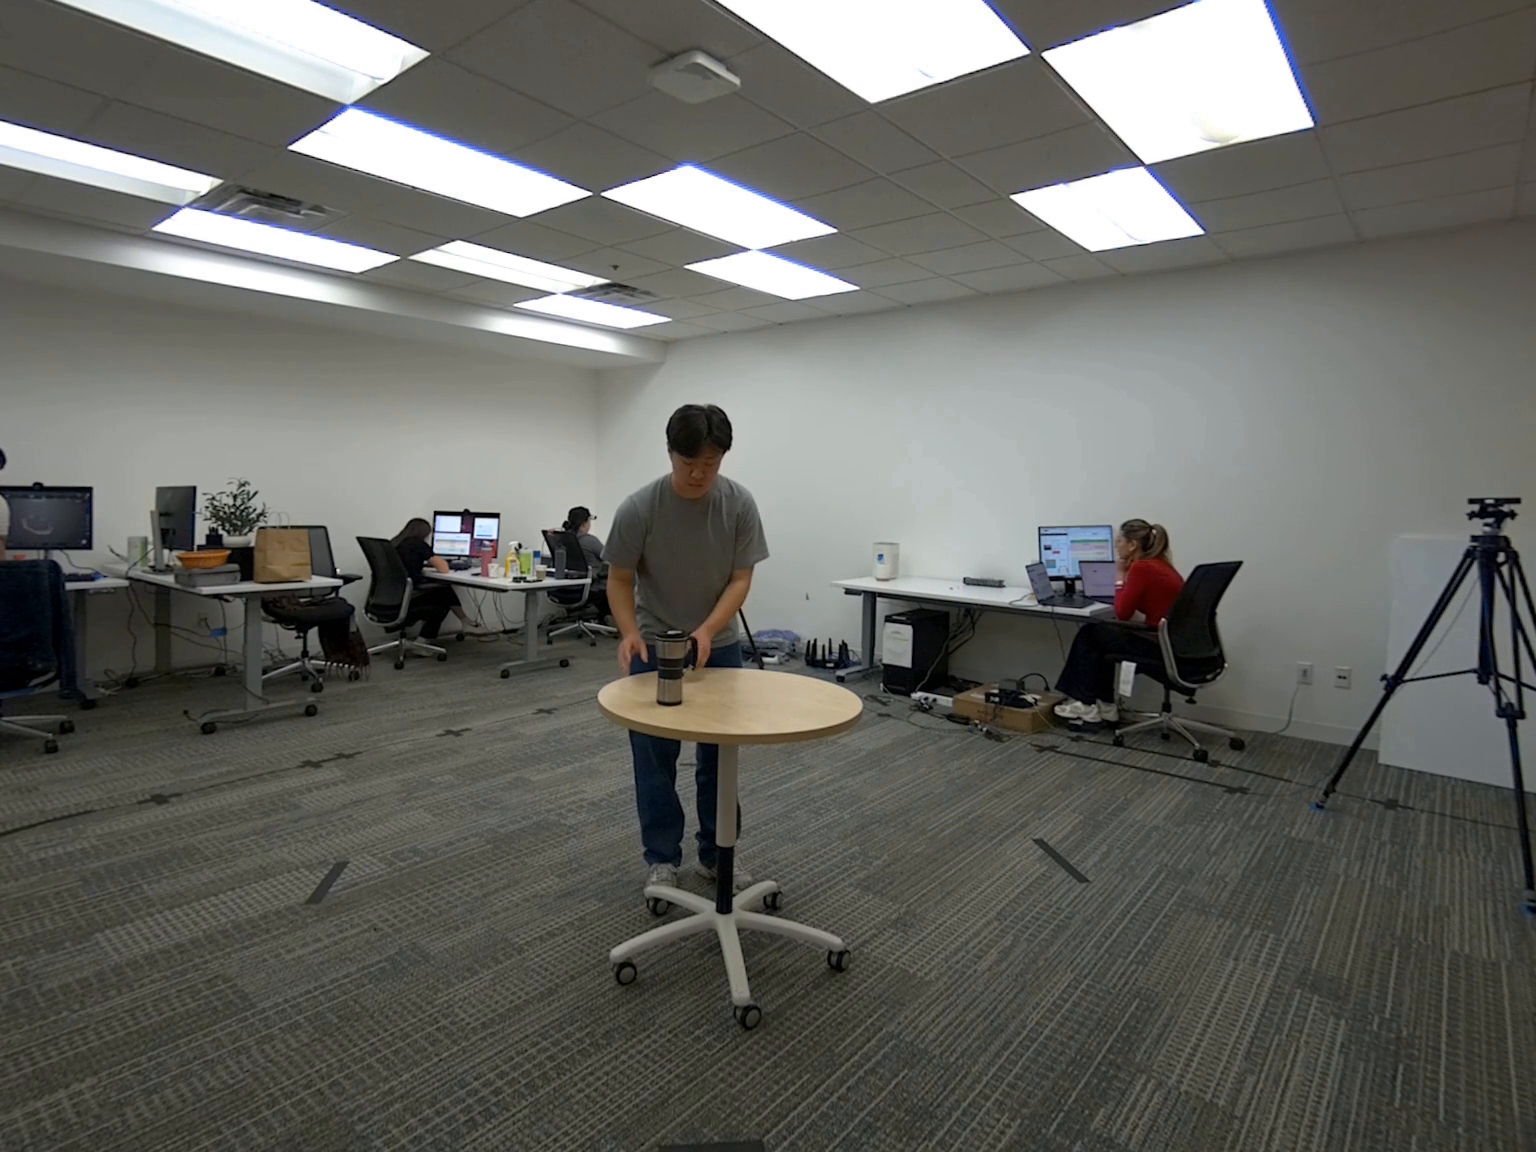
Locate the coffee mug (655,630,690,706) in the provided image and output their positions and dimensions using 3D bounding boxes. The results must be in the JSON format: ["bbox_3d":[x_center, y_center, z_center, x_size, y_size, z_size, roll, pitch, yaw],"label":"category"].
[{"bbox_3d":[-0.261,0.254,2.370,0.122,0.203,0.088,0,1,-1],"label":"coffee mug"}]
